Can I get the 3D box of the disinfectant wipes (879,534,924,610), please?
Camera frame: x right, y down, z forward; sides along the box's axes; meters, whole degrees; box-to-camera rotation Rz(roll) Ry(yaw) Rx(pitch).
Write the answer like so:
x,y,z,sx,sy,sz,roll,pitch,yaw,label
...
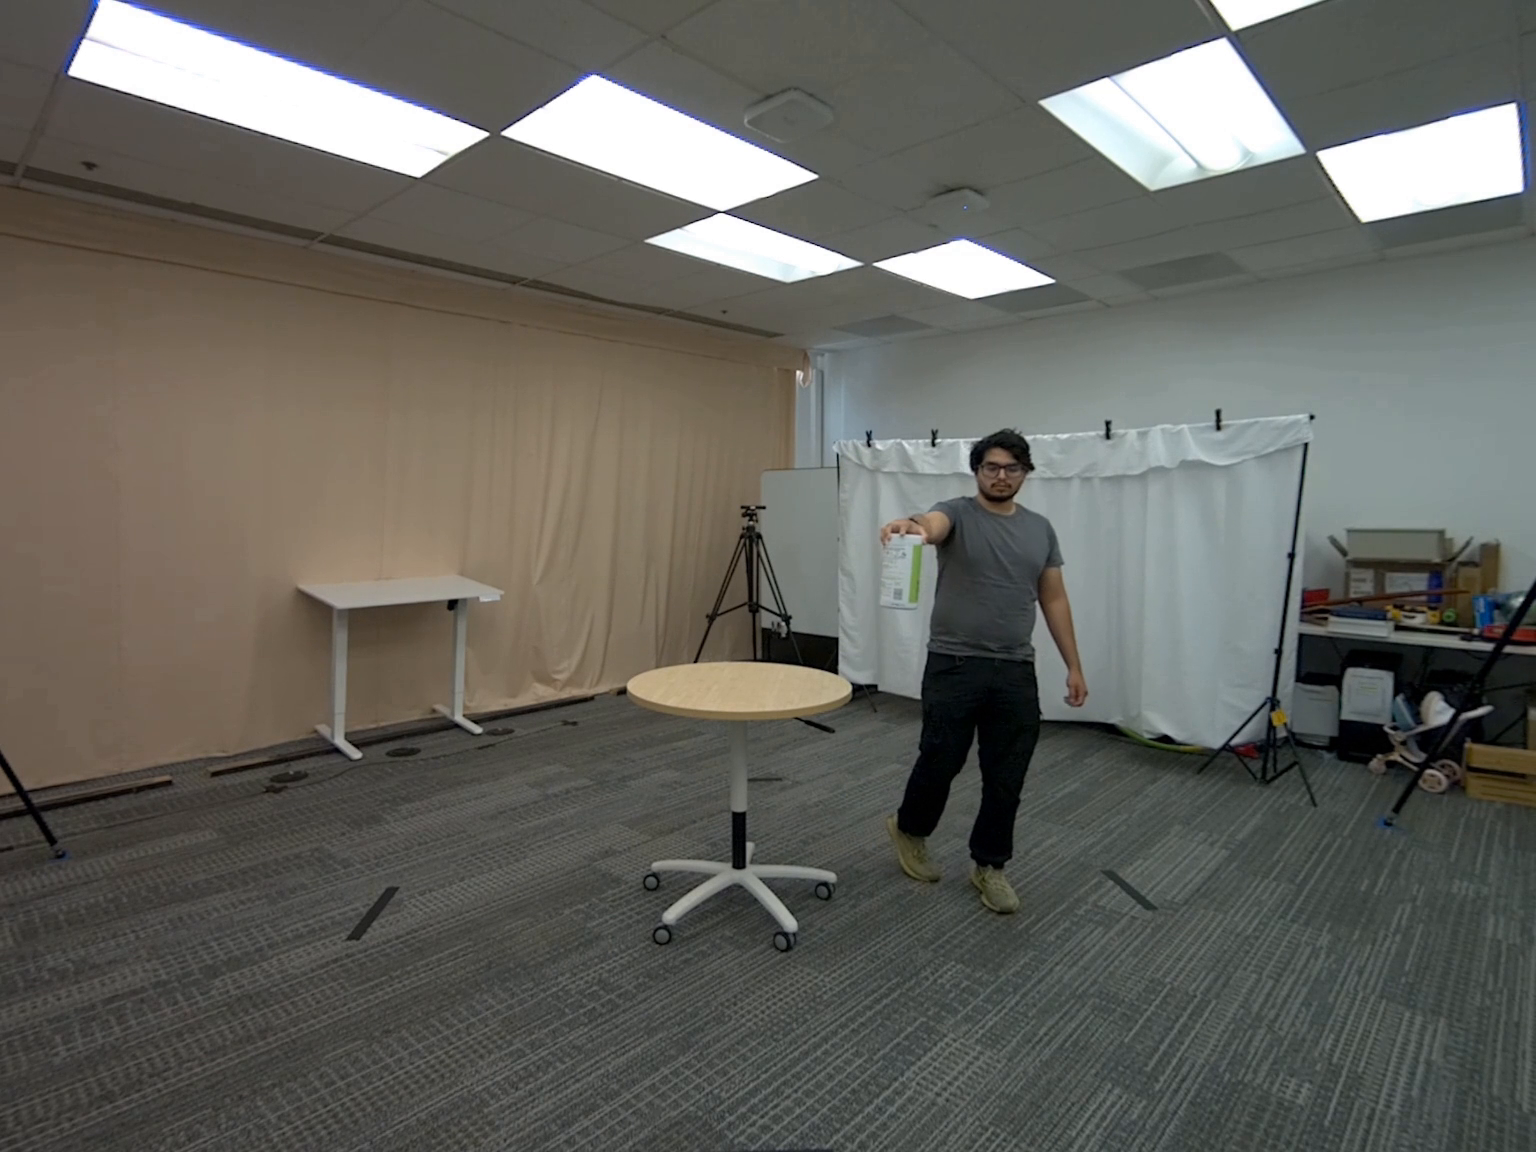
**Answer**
x,y,z,sx,sy,sz,roll,pitch,yaw,label
0.400,-0.013,2.437,0.117,0.217,0.118,2,2,-2,disinfectant wipes
